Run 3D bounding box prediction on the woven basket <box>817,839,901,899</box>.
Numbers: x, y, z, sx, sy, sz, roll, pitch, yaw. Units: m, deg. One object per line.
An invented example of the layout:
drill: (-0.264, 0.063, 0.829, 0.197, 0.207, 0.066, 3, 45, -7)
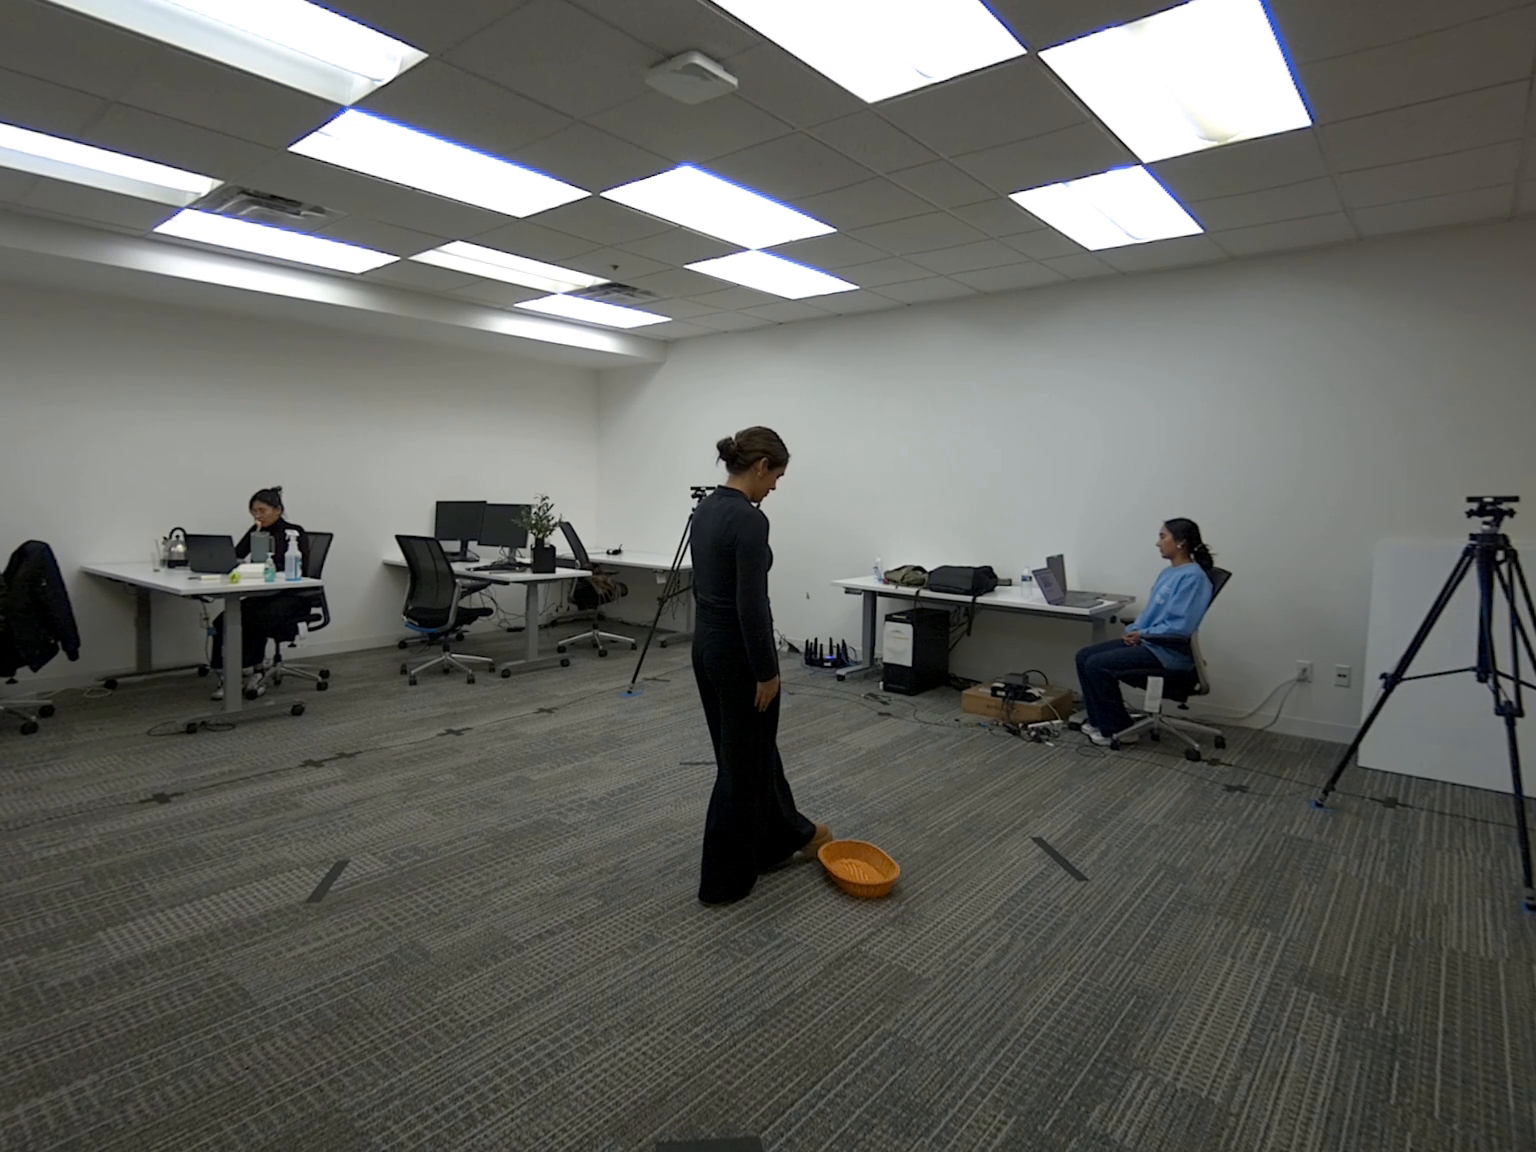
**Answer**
woven basket: (0.316, 1.045, 3.033, 0.248, 0.073, 0.358, -3, 7, -17)
